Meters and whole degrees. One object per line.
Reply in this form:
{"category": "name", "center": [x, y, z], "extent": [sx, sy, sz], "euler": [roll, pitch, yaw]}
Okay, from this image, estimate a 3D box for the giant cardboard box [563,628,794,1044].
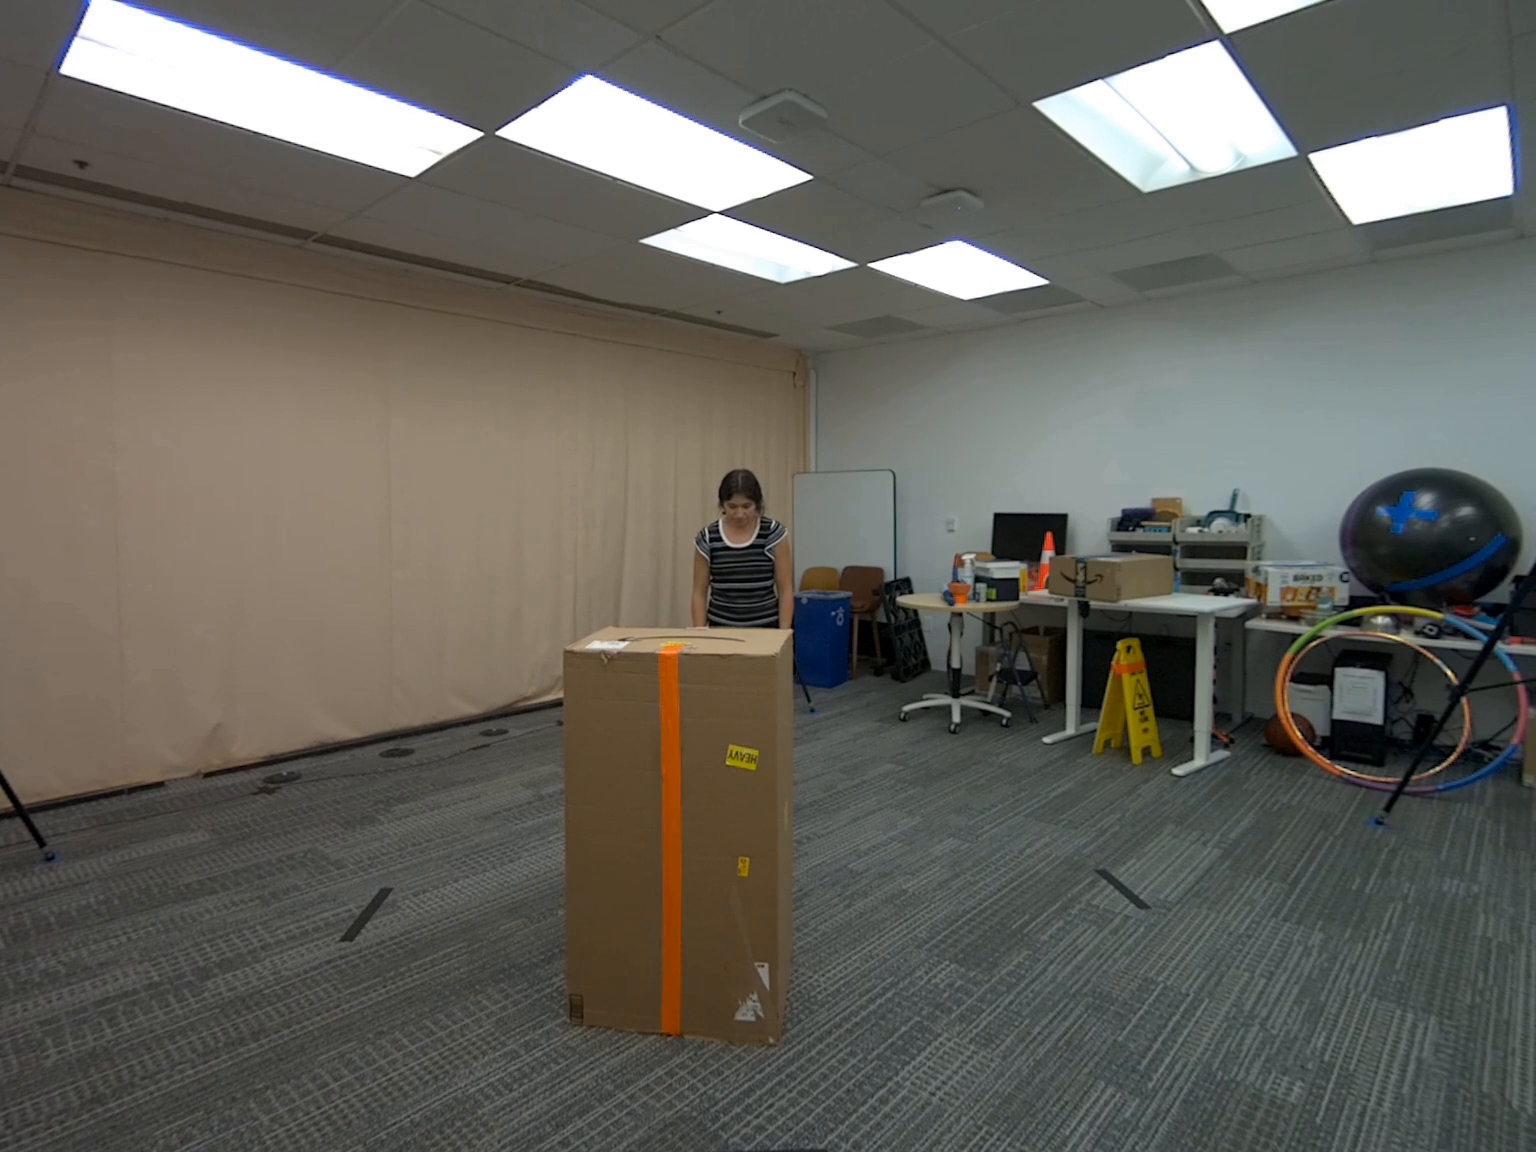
{"category": "giant cardboard box", "center": [-0.235, 0.683, 2.396], "extent": [0.584, 1.024, 0.422], "euler": [0, 3, 9]}
